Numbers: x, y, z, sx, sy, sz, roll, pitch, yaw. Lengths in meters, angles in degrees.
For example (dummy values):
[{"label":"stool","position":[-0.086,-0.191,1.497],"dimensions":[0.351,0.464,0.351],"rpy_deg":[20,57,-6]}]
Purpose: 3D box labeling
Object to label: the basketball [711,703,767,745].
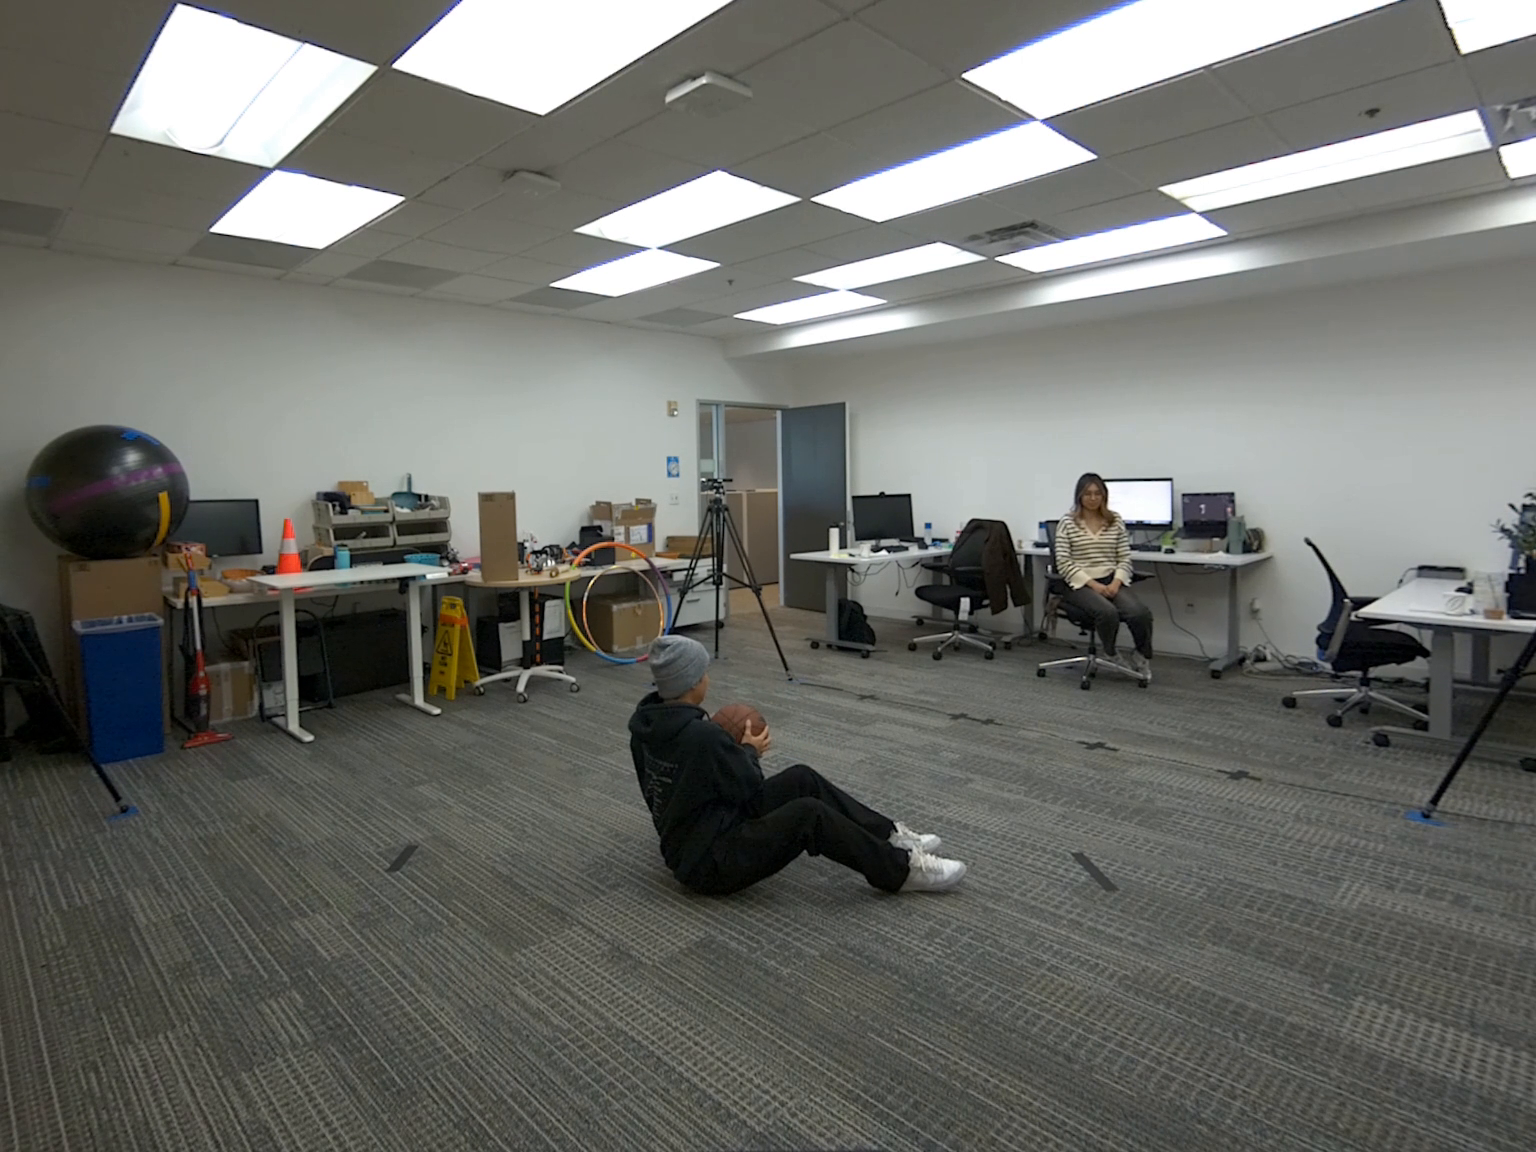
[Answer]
[{"label":"basketball","position":[-0.111,0.616,3.338],"dimensions":[0.236,0.235,0.237],"rpy_deg":[-1,5,-2]}]
